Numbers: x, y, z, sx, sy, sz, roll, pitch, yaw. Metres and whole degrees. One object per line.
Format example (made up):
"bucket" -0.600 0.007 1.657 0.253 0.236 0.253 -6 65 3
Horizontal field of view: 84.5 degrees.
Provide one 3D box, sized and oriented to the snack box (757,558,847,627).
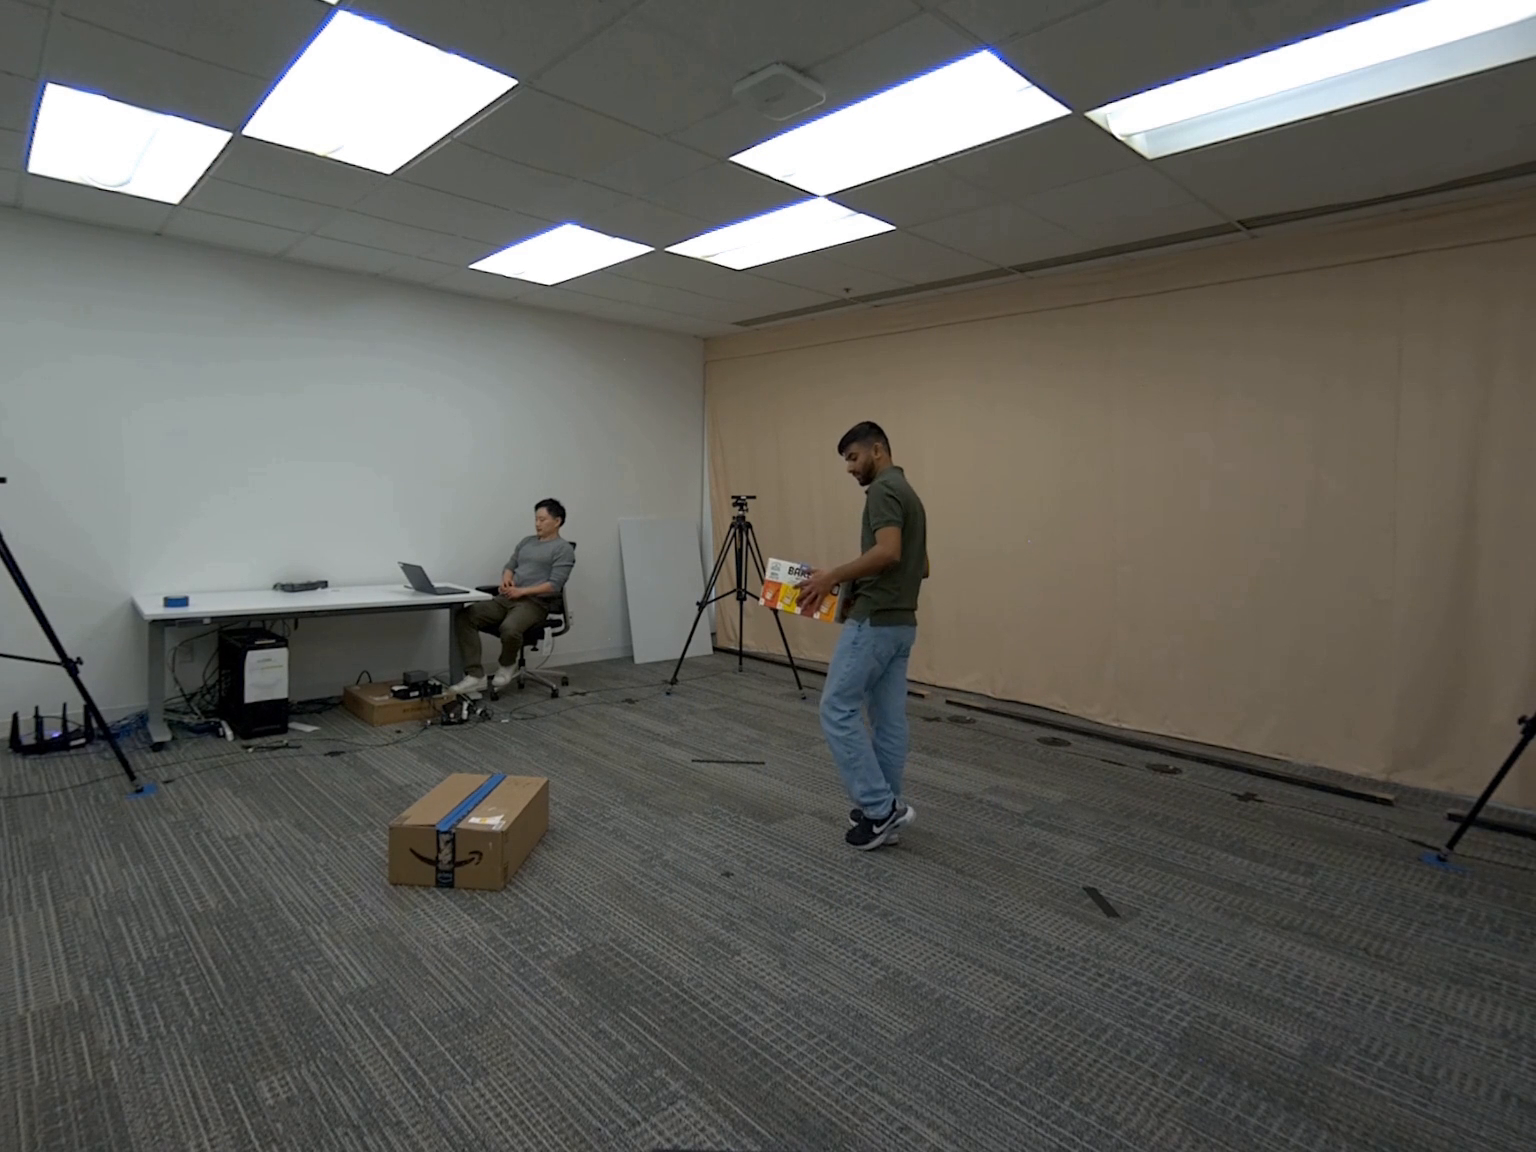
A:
"snack box" 0.214 0.079 3.595 0.348 0.206 0.395 12 0 28
